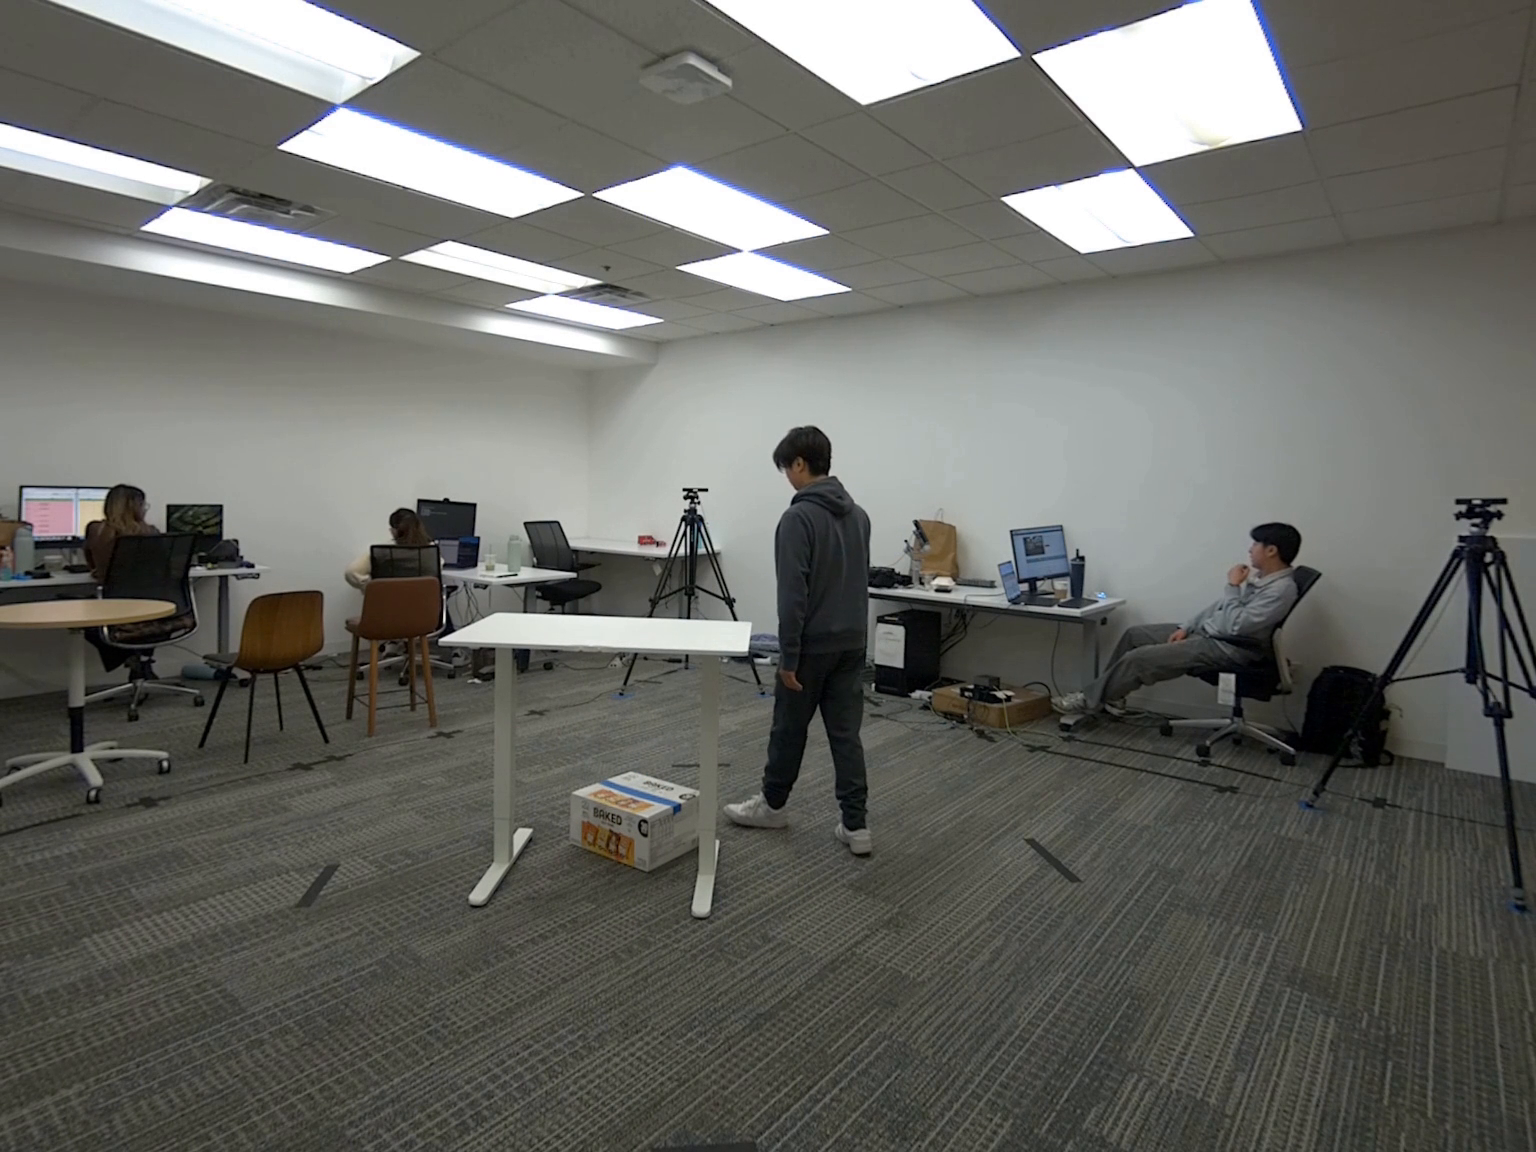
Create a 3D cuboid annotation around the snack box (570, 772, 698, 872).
[{"bbox_3d":[-0.514,0.943,3.315,0.418,0.205,0.331,4,6,35],"label":"snack box"}]
